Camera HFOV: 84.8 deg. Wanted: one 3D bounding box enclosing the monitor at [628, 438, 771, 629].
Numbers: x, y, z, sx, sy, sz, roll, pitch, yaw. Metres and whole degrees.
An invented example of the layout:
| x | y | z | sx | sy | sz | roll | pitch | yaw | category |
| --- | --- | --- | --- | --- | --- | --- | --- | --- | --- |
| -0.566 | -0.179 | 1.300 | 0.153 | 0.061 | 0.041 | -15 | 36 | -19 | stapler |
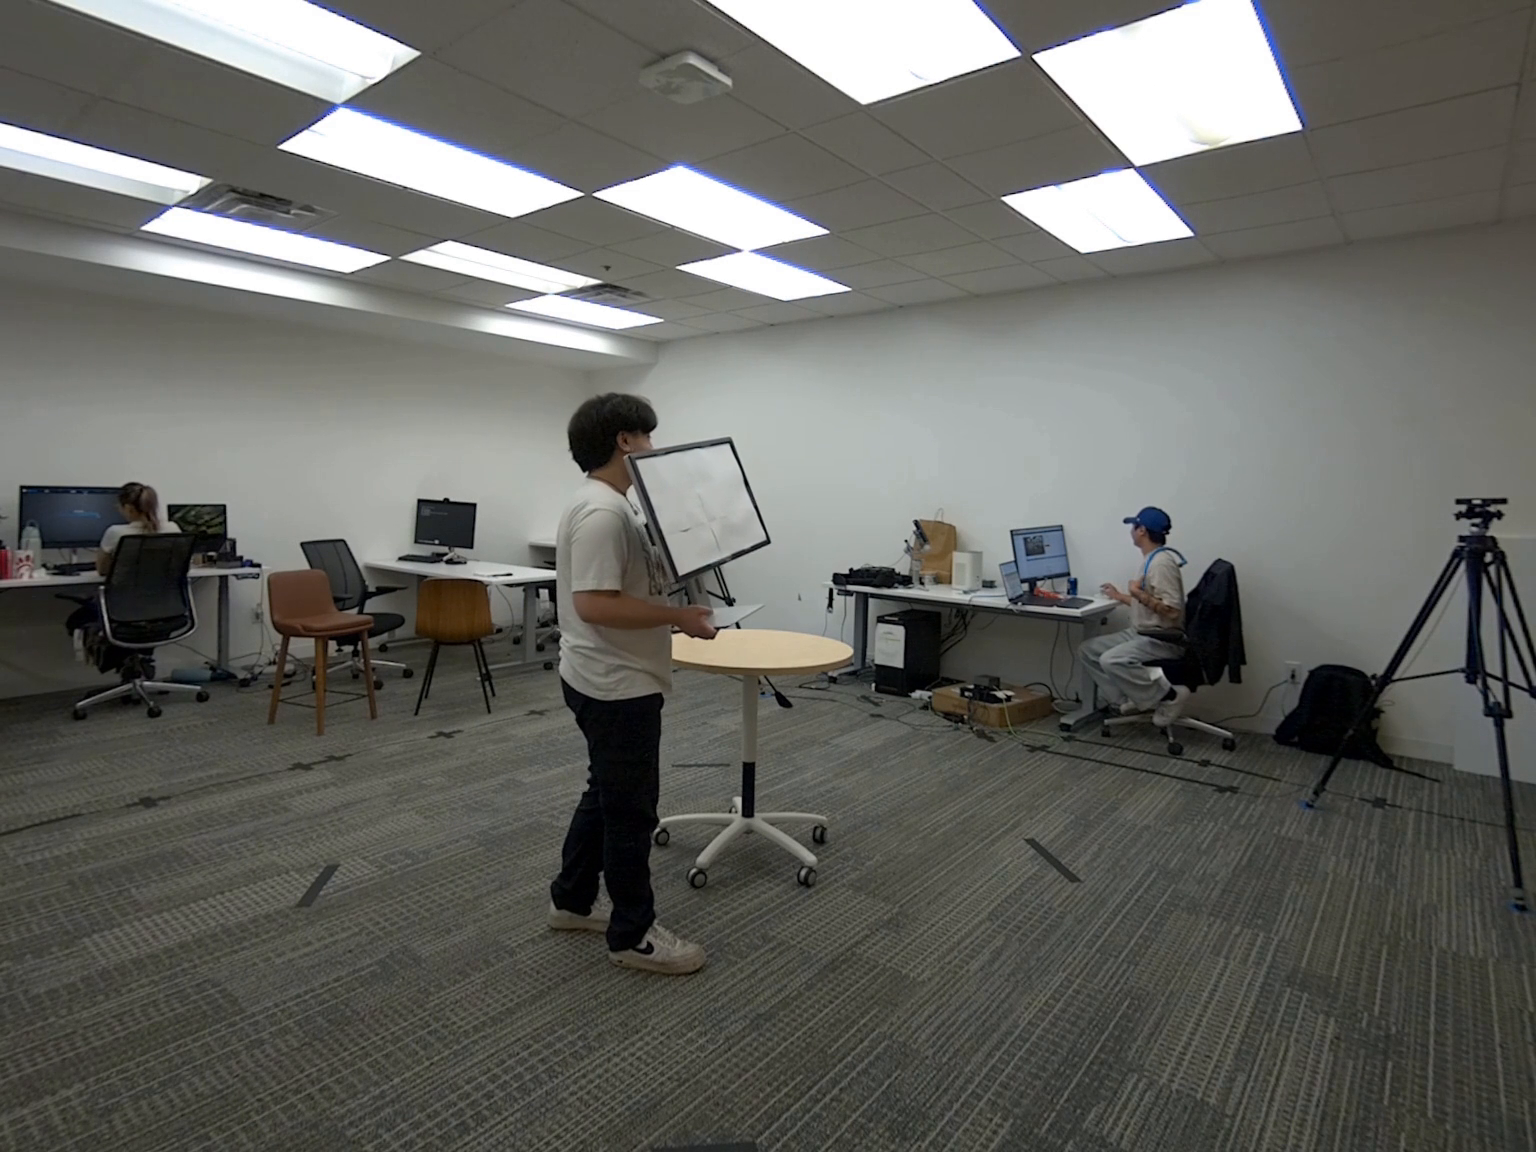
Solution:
| x | y | z | sx | sy | sz | roll | pitch | yaw | category |
| --- | --- | --- | --- | --- | --- | --- | --- | --- | --- |
| -0.236 | -0.109 | 2.498 | 0.214 | 0.552 | 0.556 | -14 | 5 | 30 | monitor |
